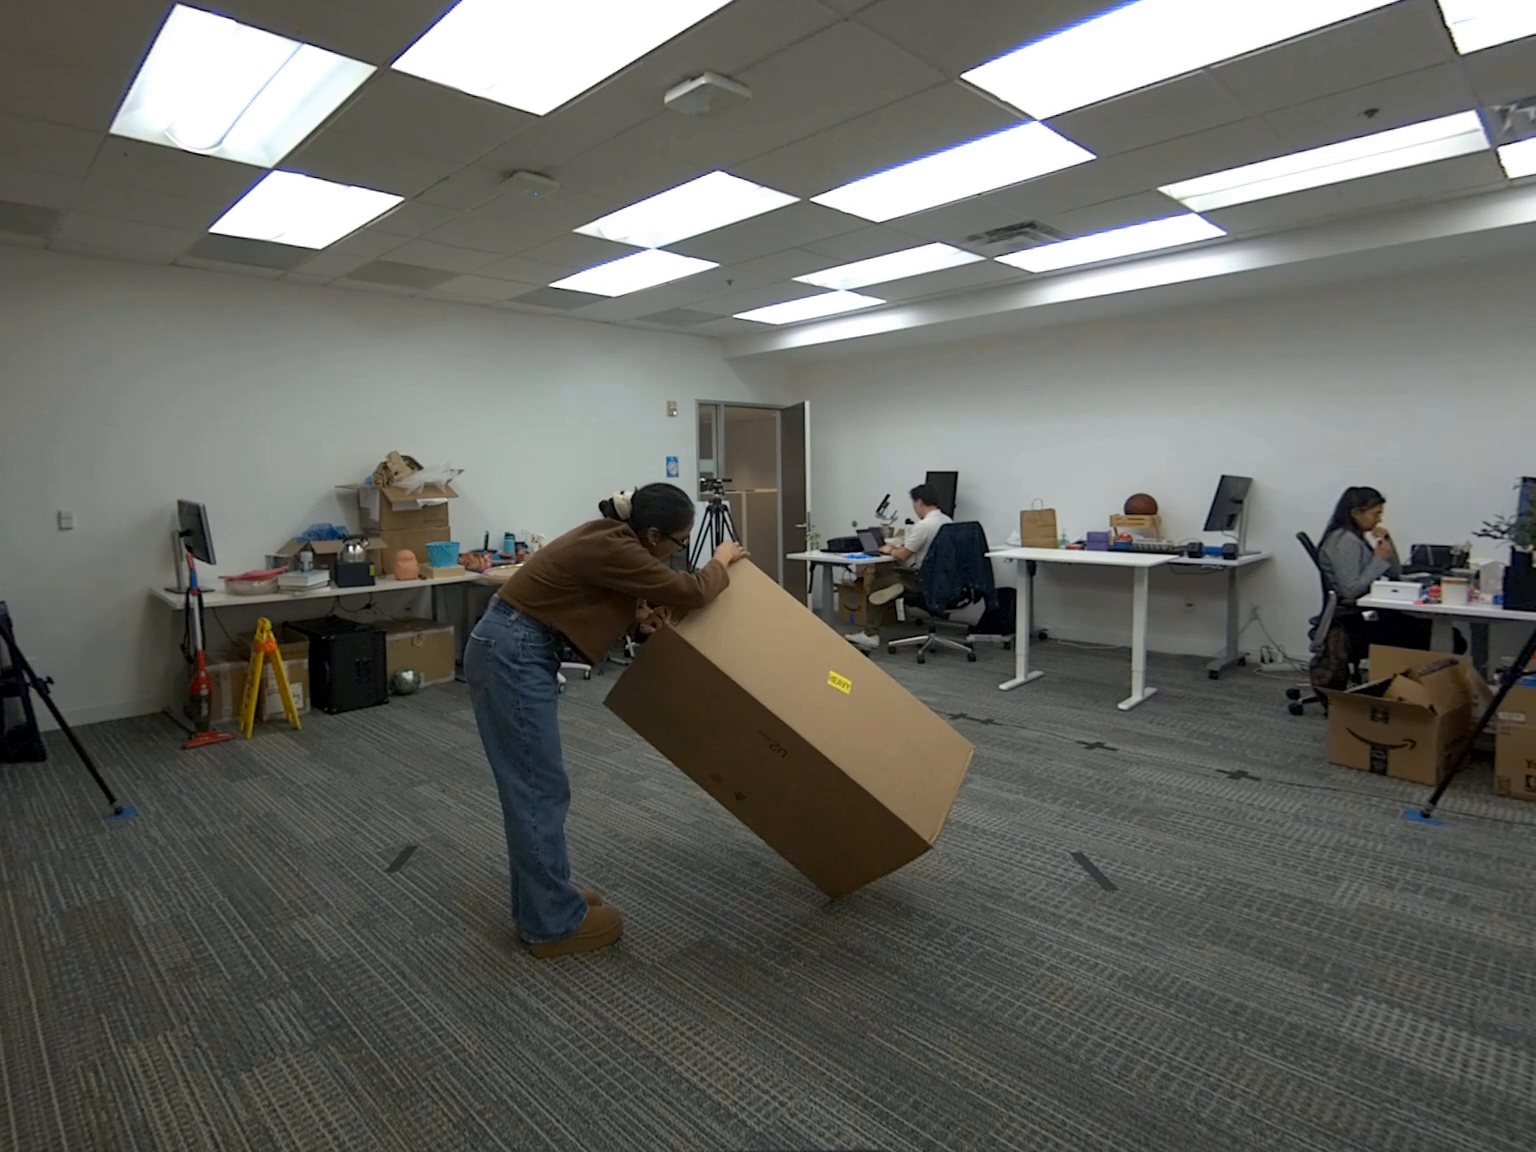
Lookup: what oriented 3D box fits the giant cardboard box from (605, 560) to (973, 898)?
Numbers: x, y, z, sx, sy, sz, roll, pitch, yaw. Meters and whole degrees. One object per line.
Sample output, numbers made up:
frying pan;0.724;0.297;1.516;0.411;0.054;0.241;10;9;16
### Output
giant cardboard box;0.055;0.492;2.835;0.446;1.033;0.581;-47;-6;-46
